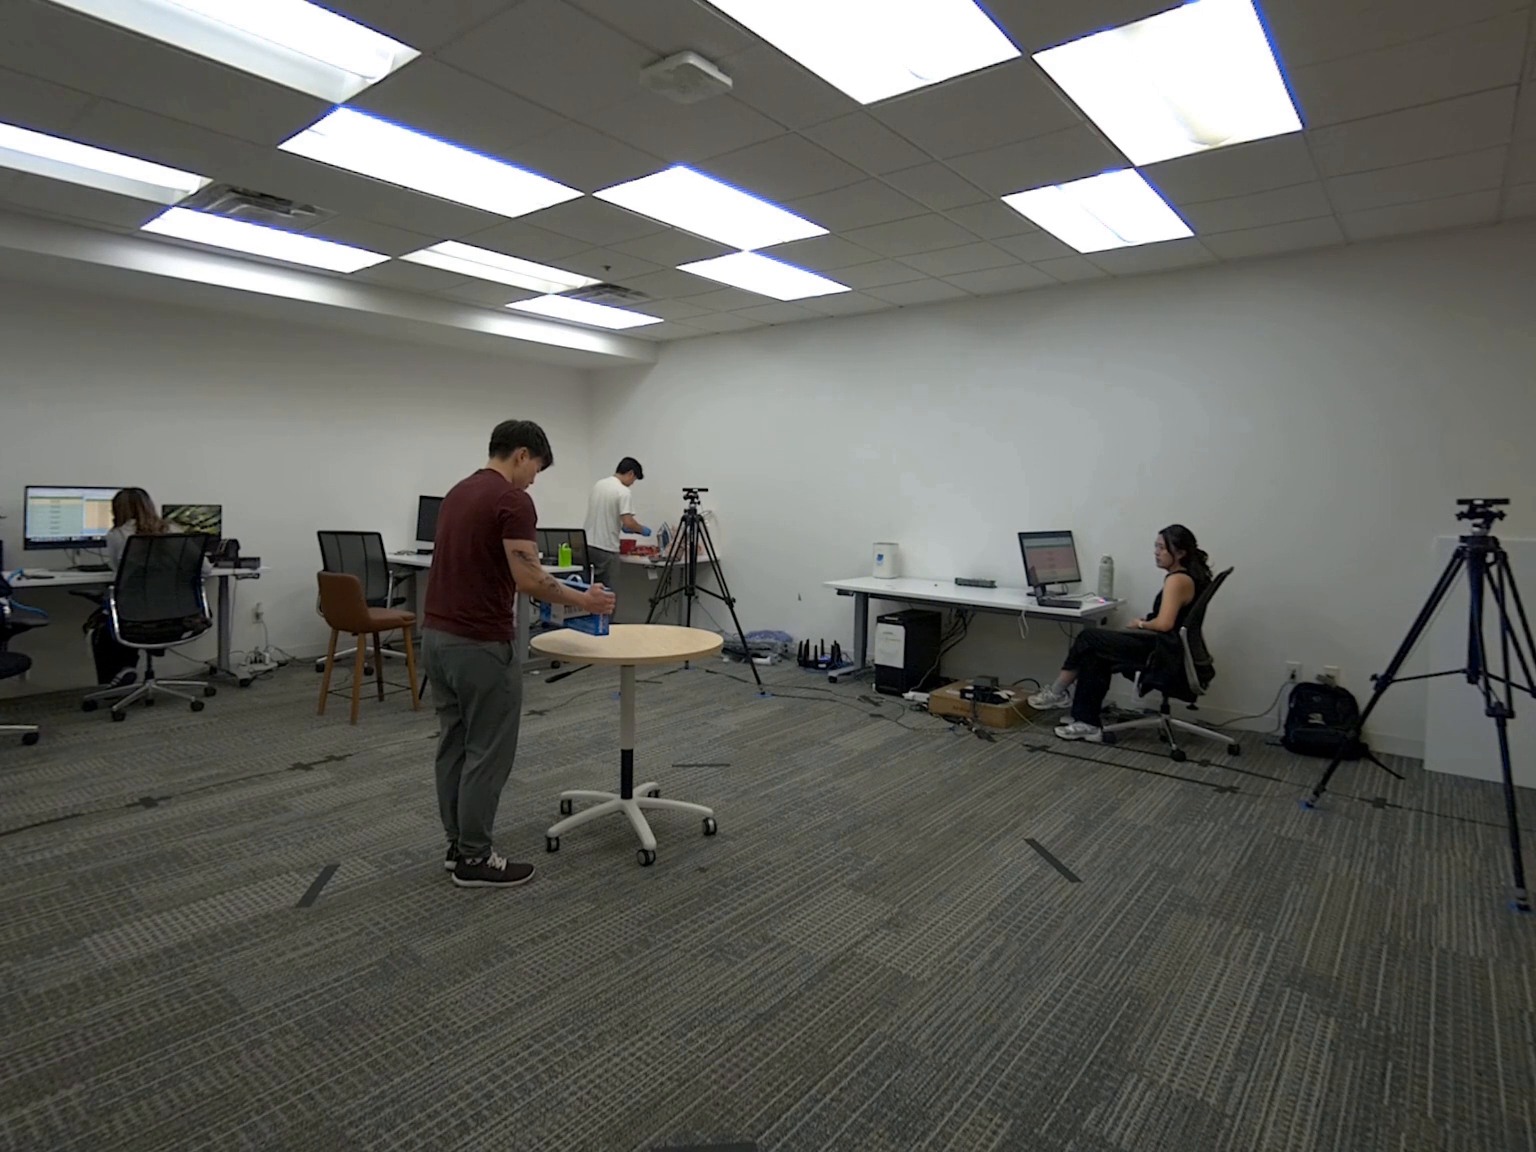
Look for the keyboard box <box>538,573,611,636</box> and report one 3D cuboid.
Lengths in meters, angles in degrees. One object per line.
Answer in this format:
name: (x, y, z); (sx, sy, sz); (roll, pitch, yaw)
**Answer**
keyboard box: (-0.761, 0.123, 3.255); (0.057, 0.175, 0.452); (-1, 6, -41)
